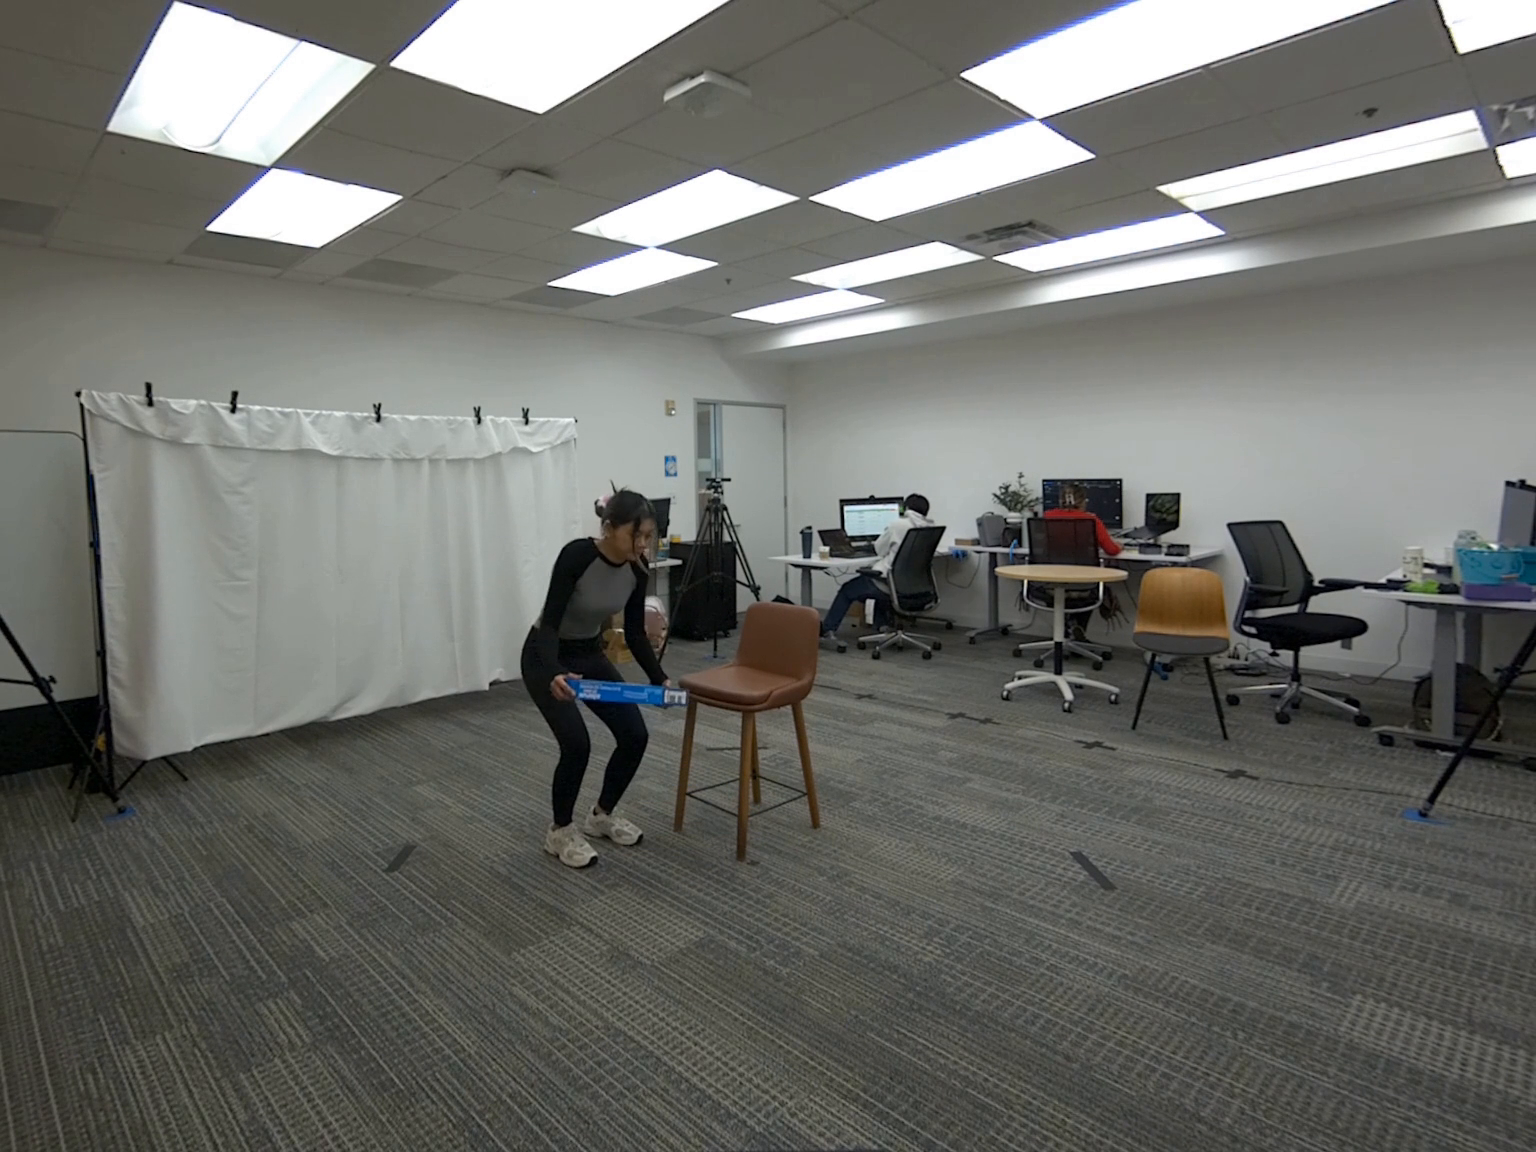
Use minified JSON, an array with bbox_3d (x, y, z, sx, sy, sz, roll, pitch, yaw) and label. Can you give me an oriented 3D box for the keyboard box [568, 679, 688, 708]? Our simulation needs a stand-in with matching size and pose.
[{"bbox_3d":[-0.486,0.396,2.890,0.422,0.059,0.181,11,-8,-39],"label":"keyboard box"}]
